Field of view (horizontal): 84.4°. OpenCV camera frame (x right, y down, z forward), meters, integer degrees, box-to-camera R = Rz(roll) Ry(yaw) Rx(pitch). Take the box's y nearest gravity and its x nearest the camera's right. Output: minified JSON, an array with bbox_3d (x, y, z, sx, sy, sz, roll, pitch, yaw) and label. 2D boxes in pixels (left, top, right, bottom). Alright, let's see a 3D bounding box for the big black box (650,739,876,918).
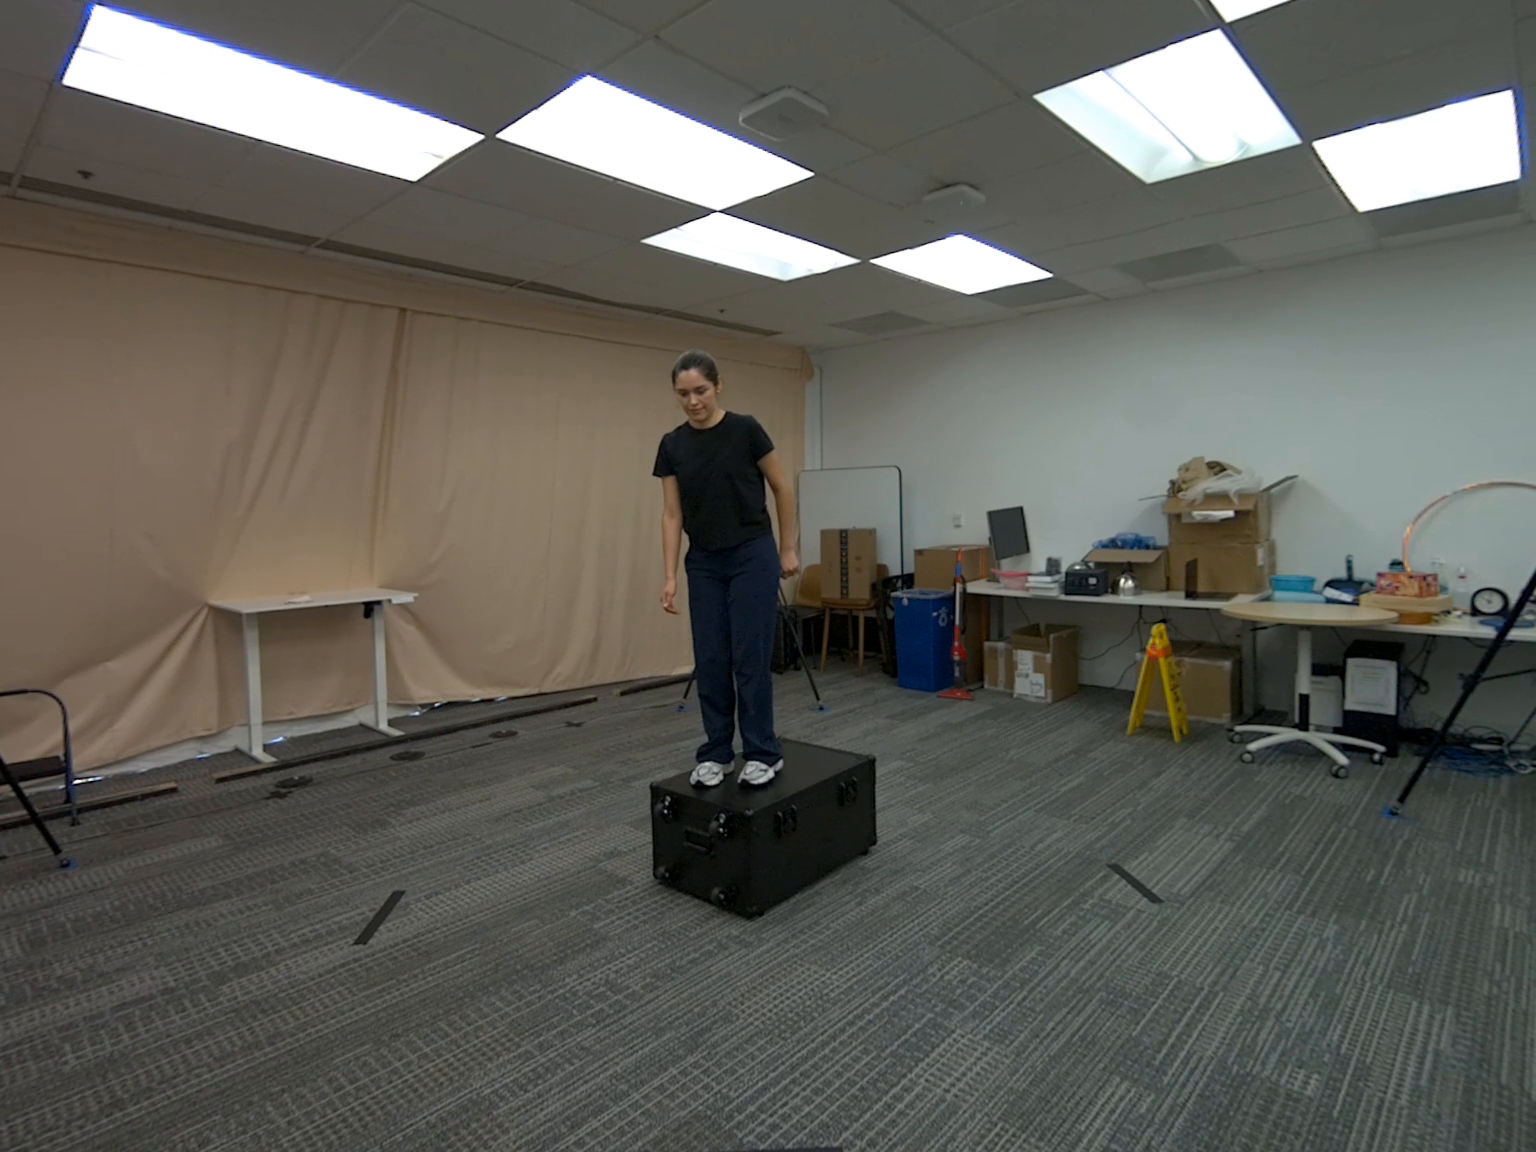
[{"bbox_3d":[-0.007,0.930,3.213,0.538,0.395,0.836,2,5,40],"label":"big black box"}]
